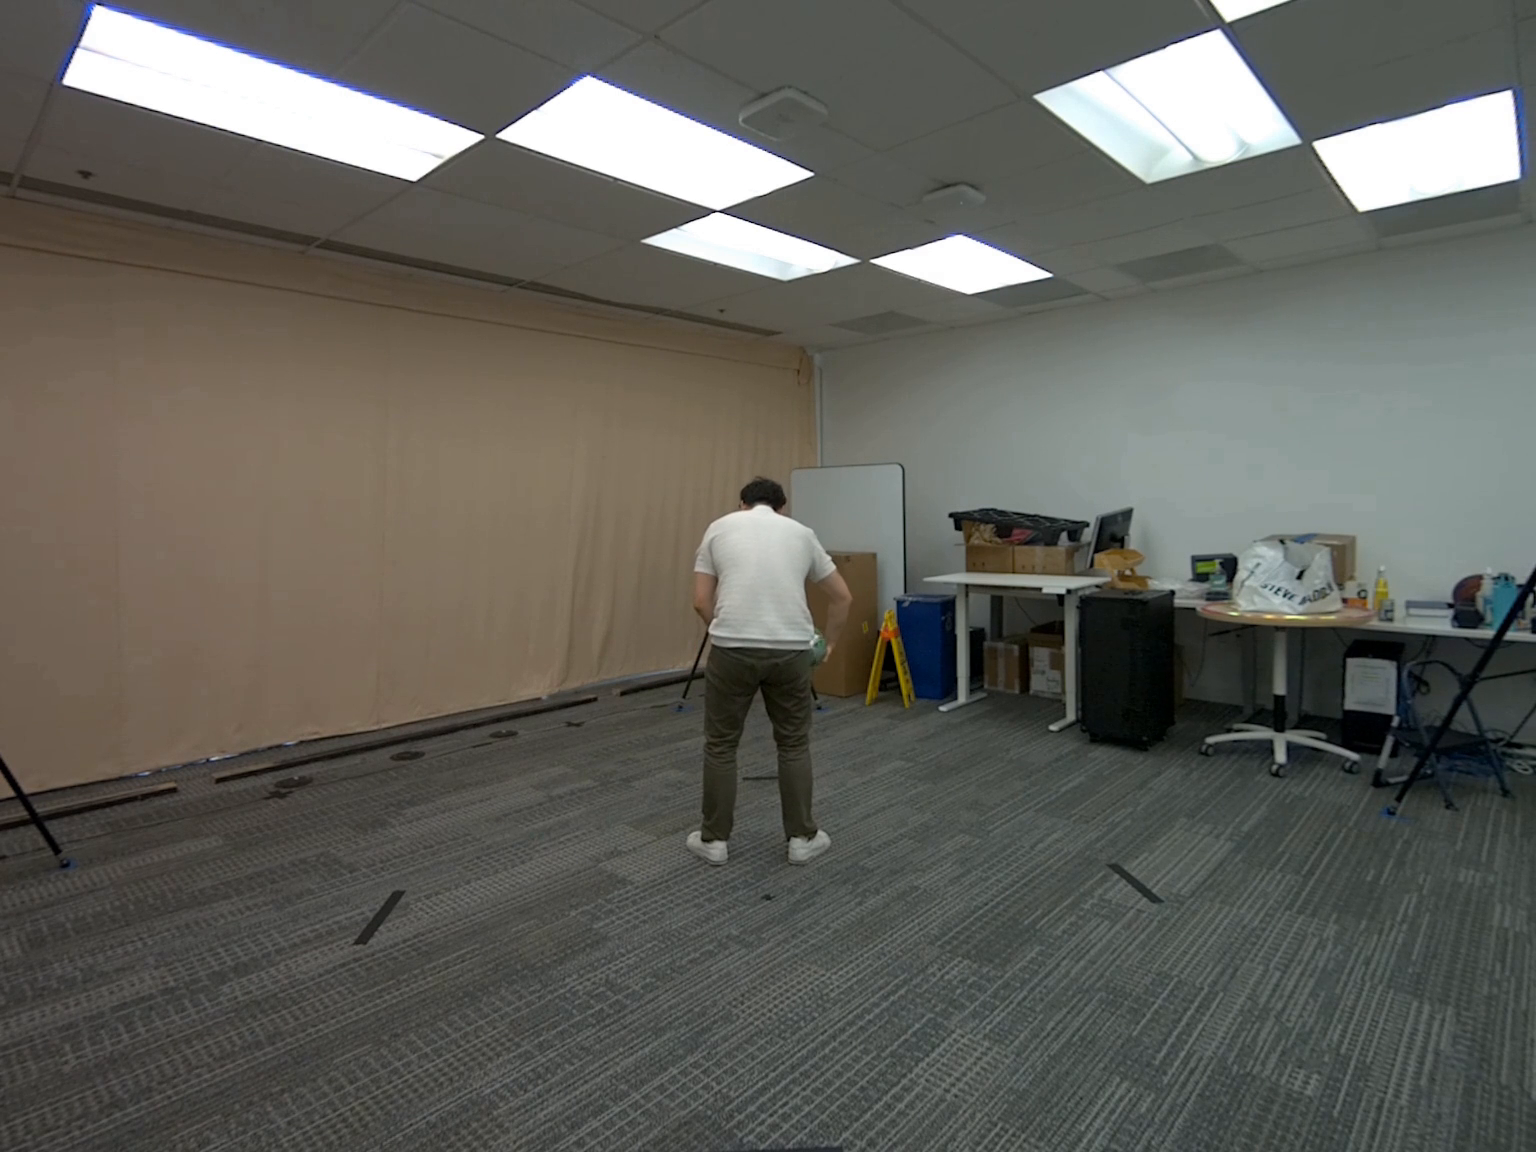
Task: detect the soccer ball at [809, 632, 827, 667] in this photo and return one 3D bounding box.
[{"bbox_3d":[0.154,0.293,3.464,0.187,0.187,0.188,-1,4,-2],"label":"soccer ball"}]
